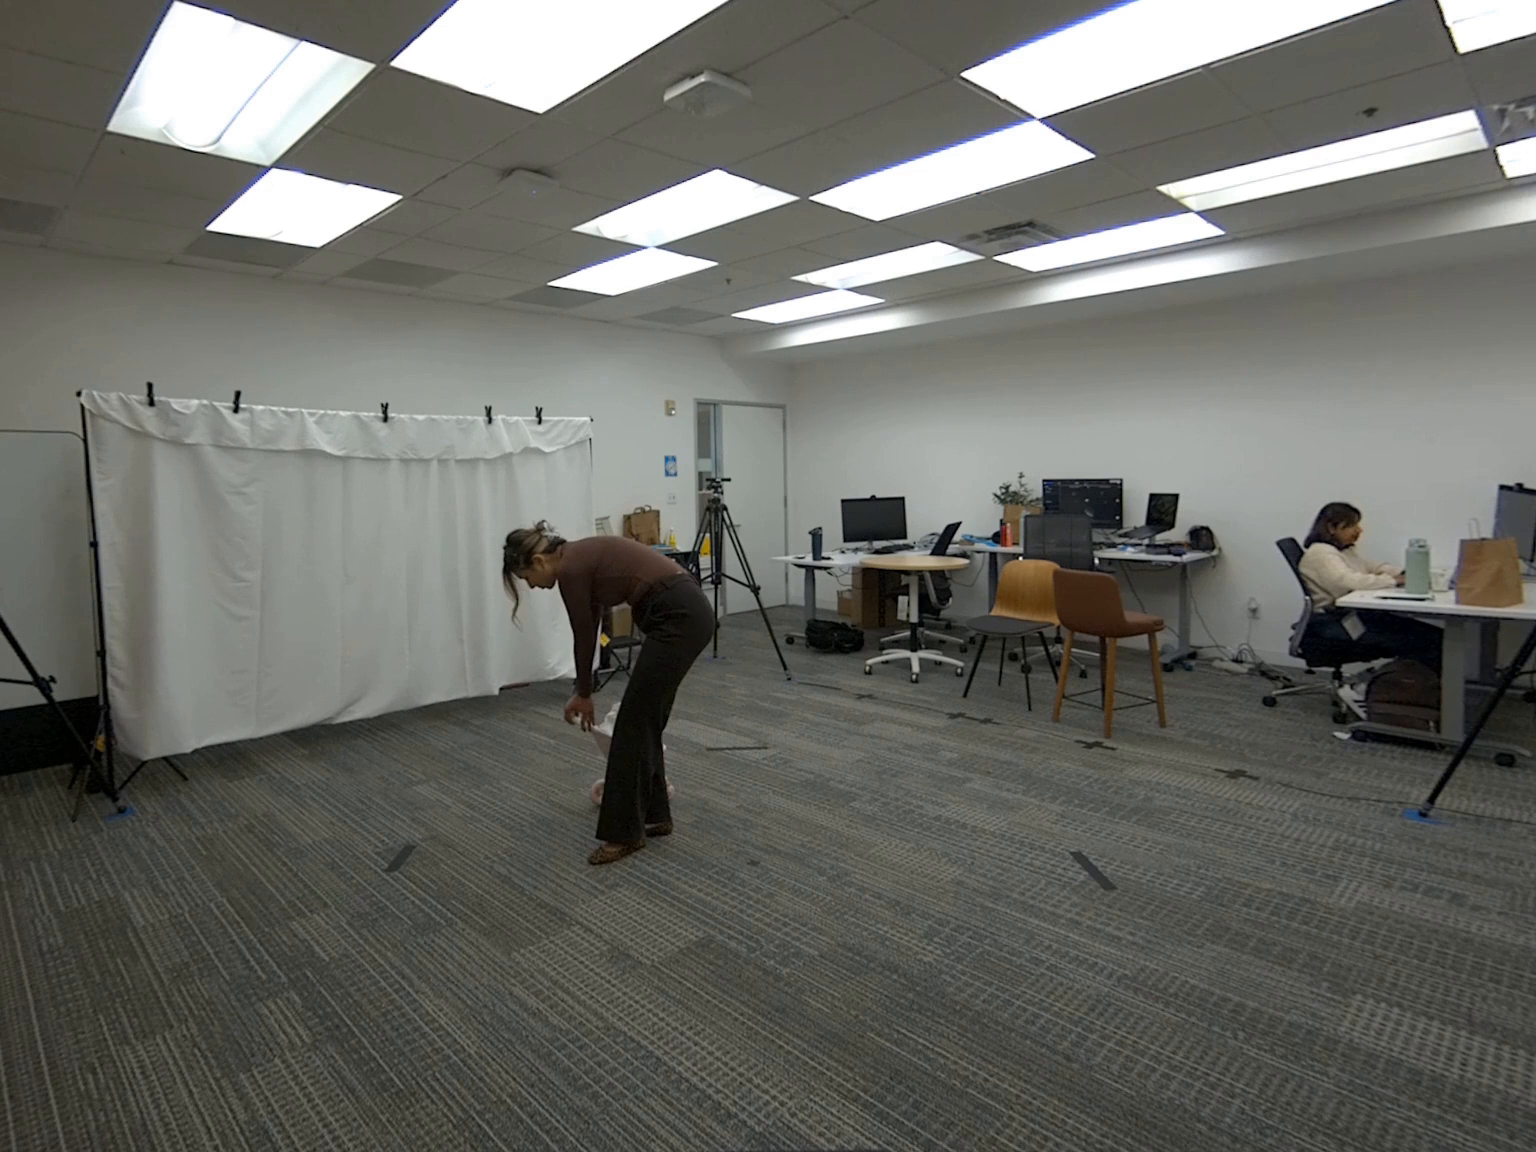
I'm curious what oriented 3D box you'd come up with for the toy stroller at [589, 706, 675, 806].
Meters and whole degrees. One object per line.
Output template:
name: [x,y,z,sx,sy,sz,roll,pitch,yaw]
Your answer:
toy stroller: [-0.589,0.770,3.615,0.336,0.527,0.289,-22,15,-30]
